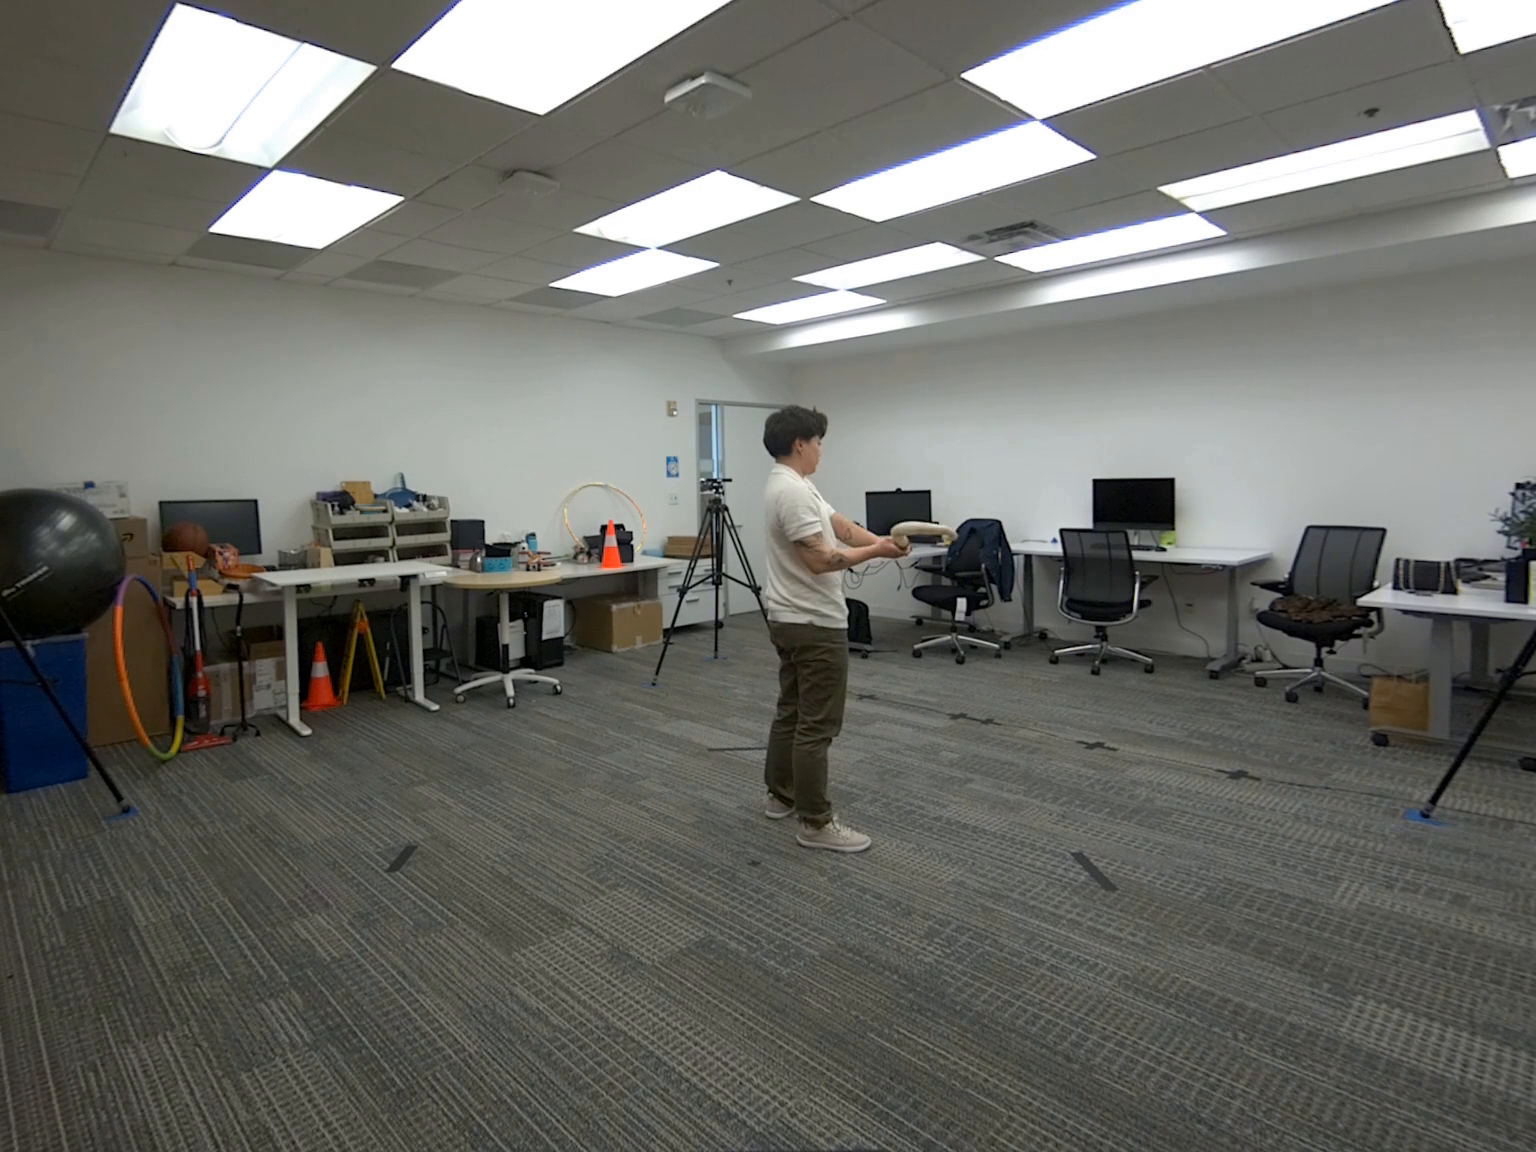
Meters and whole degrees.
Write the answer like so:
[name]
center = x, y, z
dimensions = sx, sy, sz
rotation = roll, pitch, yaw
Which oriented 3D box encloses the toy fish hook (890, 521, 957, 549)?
[toy fish hook]
center = 0.529, -0.118, 3.067
dimensions = 0.226, 0.049, 0.500
rotation = 10, -9, 4
